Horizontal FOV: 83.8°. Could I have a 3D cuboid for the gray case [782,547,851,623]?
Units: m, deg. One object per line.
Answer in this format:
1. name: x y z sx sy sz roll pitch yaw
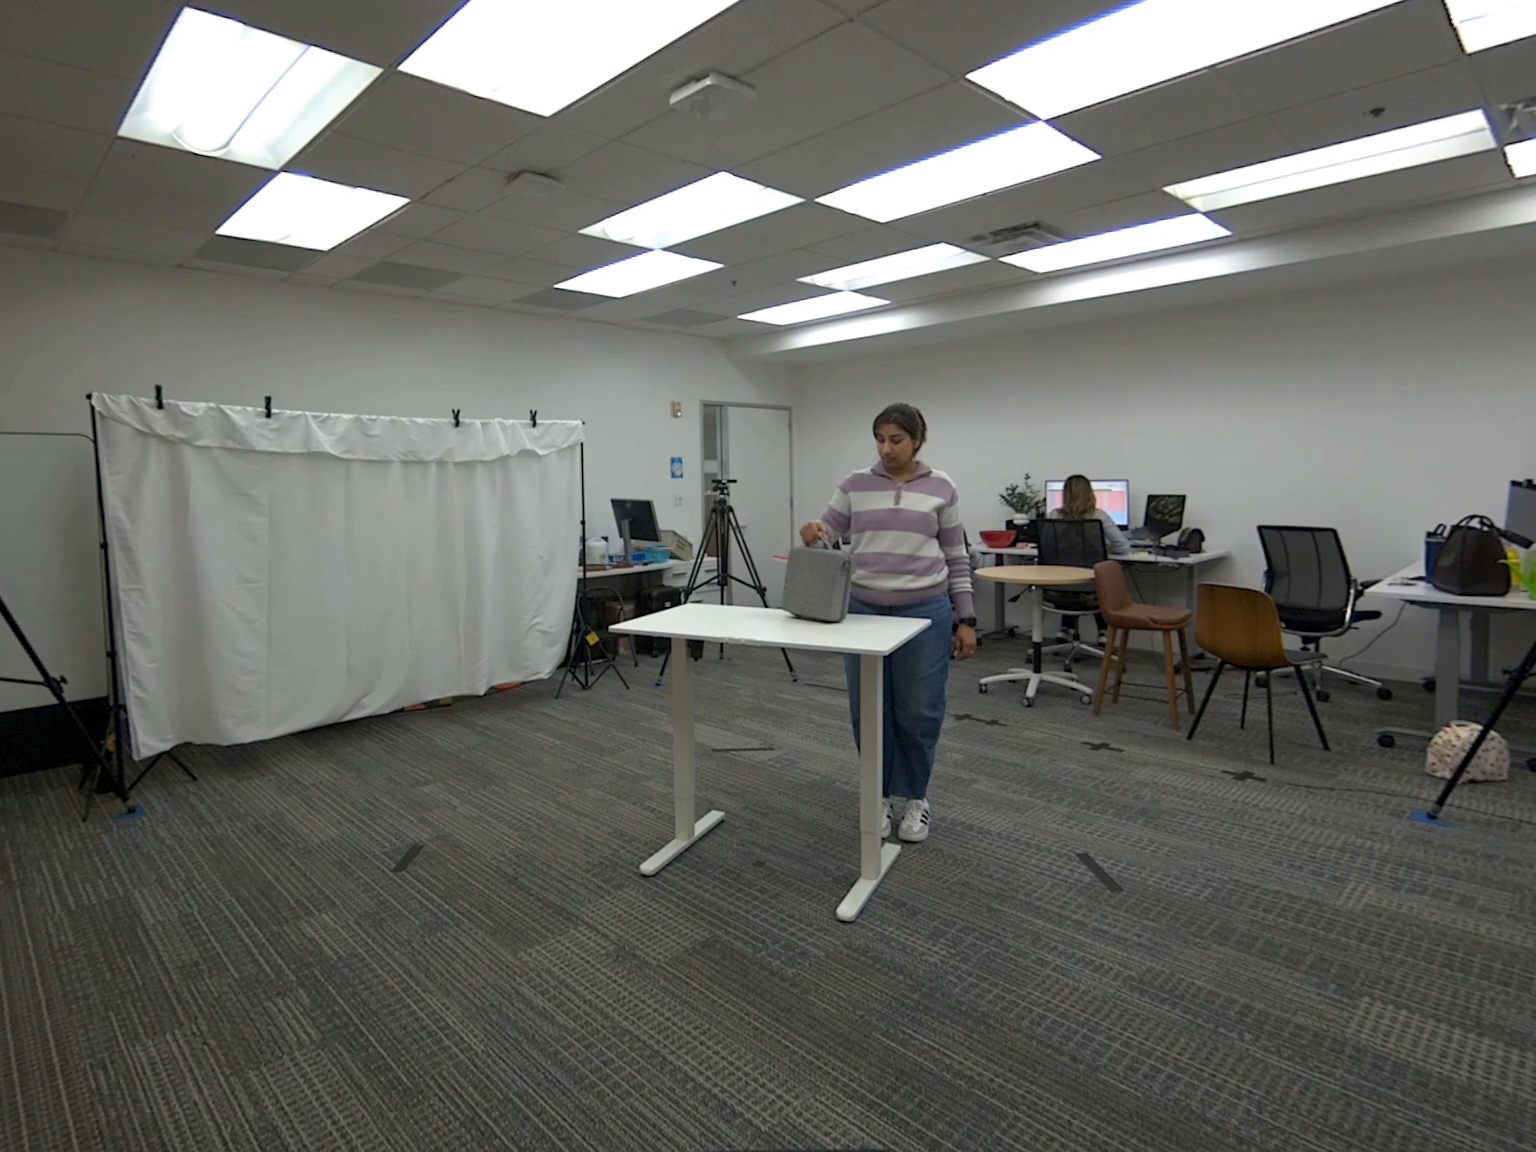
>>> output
1. gray case: 0.185 0.022 3.114 0.101 0.261 0.265 7 0 -41
